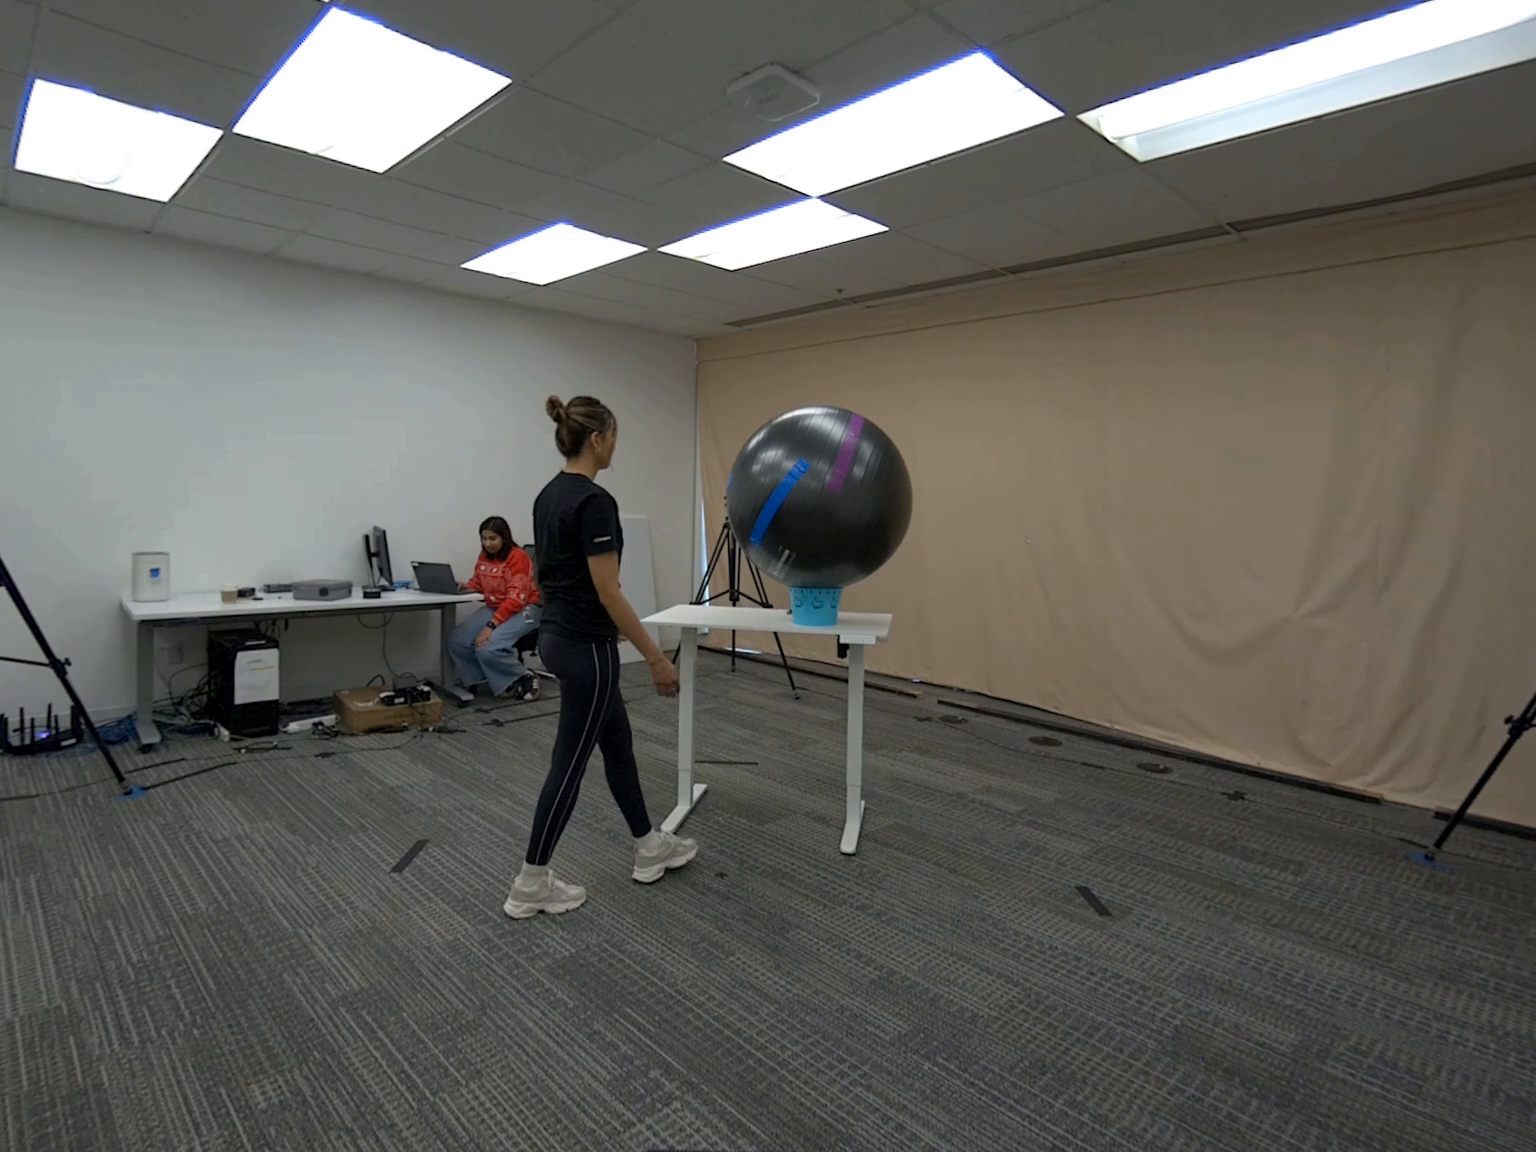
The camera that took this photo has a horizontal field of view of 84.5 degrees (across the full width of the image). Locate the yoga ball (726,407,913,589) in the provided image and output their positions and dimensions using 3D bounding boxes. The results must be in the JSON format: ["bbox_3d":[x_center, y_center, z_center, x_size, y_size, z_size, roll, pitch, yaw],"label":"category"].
[{"bbox_3d":[0.204,-0.313,3.460,0.757,0.756,0.761,1,4,-1],"label":"yoga ball"}]
